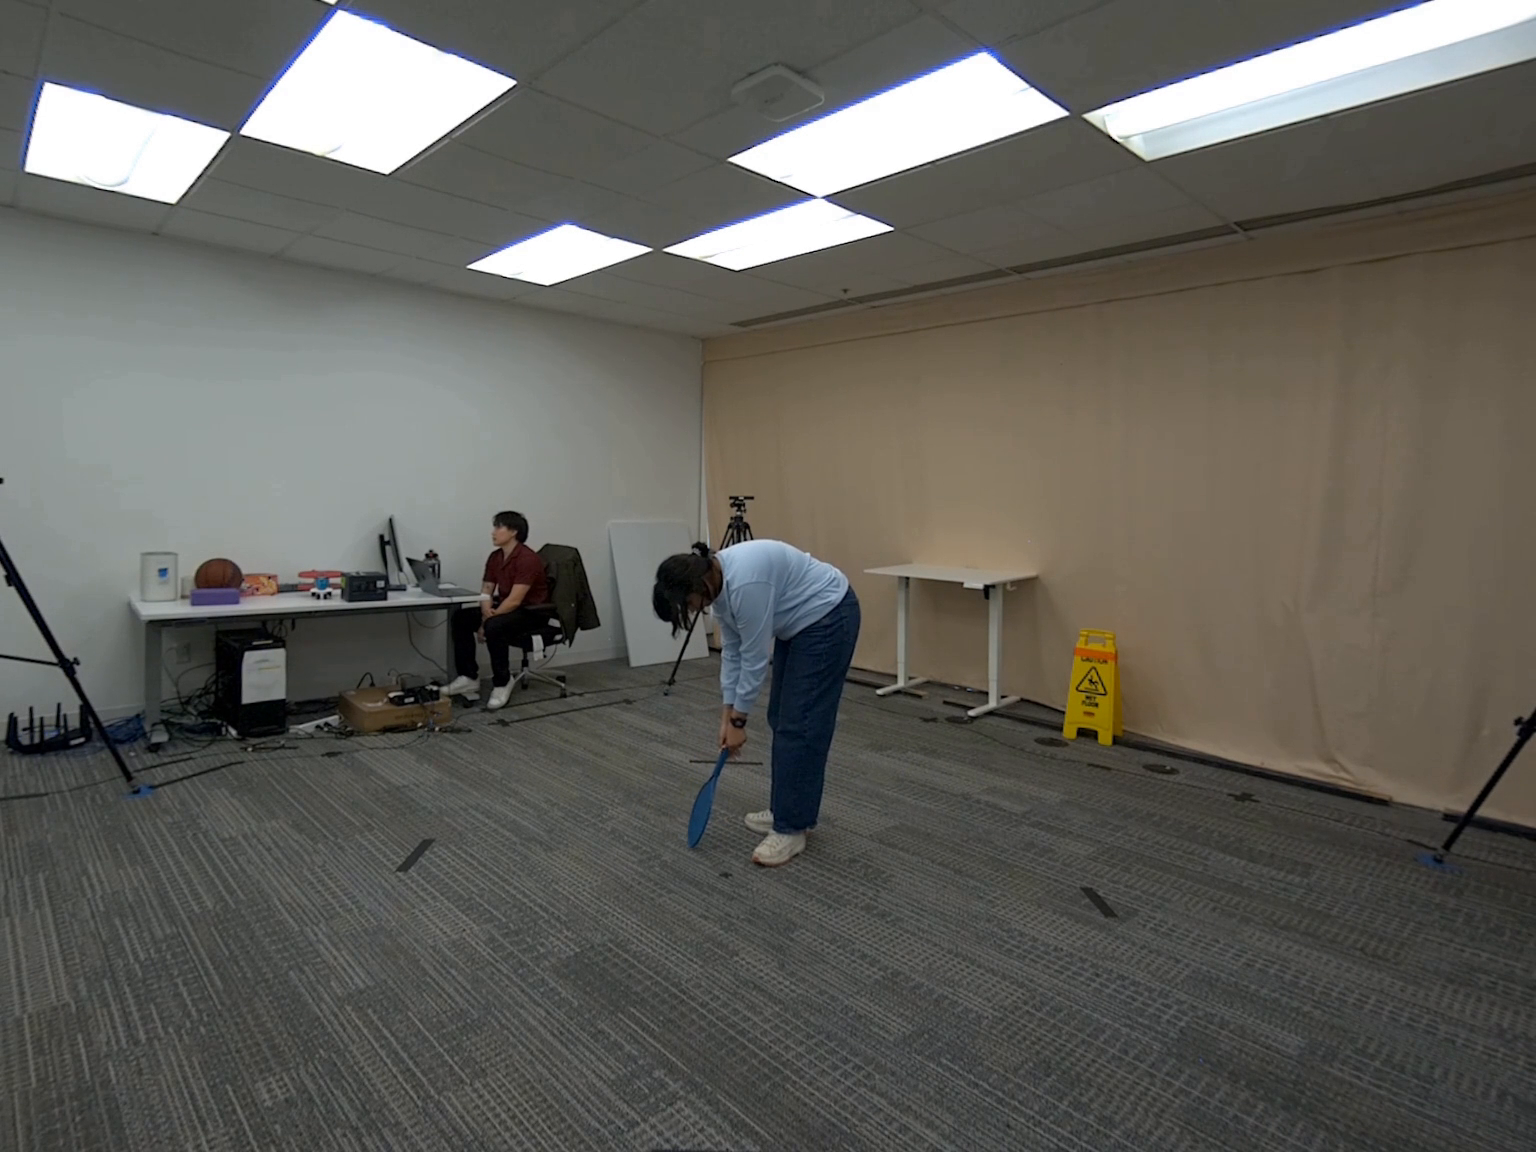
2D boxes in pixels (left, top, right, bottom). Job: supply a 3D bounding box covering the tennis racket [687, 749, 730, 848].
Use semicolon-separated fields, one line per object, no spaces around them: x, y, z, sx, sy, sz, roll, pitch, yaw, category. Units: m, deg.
-0.236;0.879;3.341;0.031;0.431;0.217;18;12;-14;tennis racket
